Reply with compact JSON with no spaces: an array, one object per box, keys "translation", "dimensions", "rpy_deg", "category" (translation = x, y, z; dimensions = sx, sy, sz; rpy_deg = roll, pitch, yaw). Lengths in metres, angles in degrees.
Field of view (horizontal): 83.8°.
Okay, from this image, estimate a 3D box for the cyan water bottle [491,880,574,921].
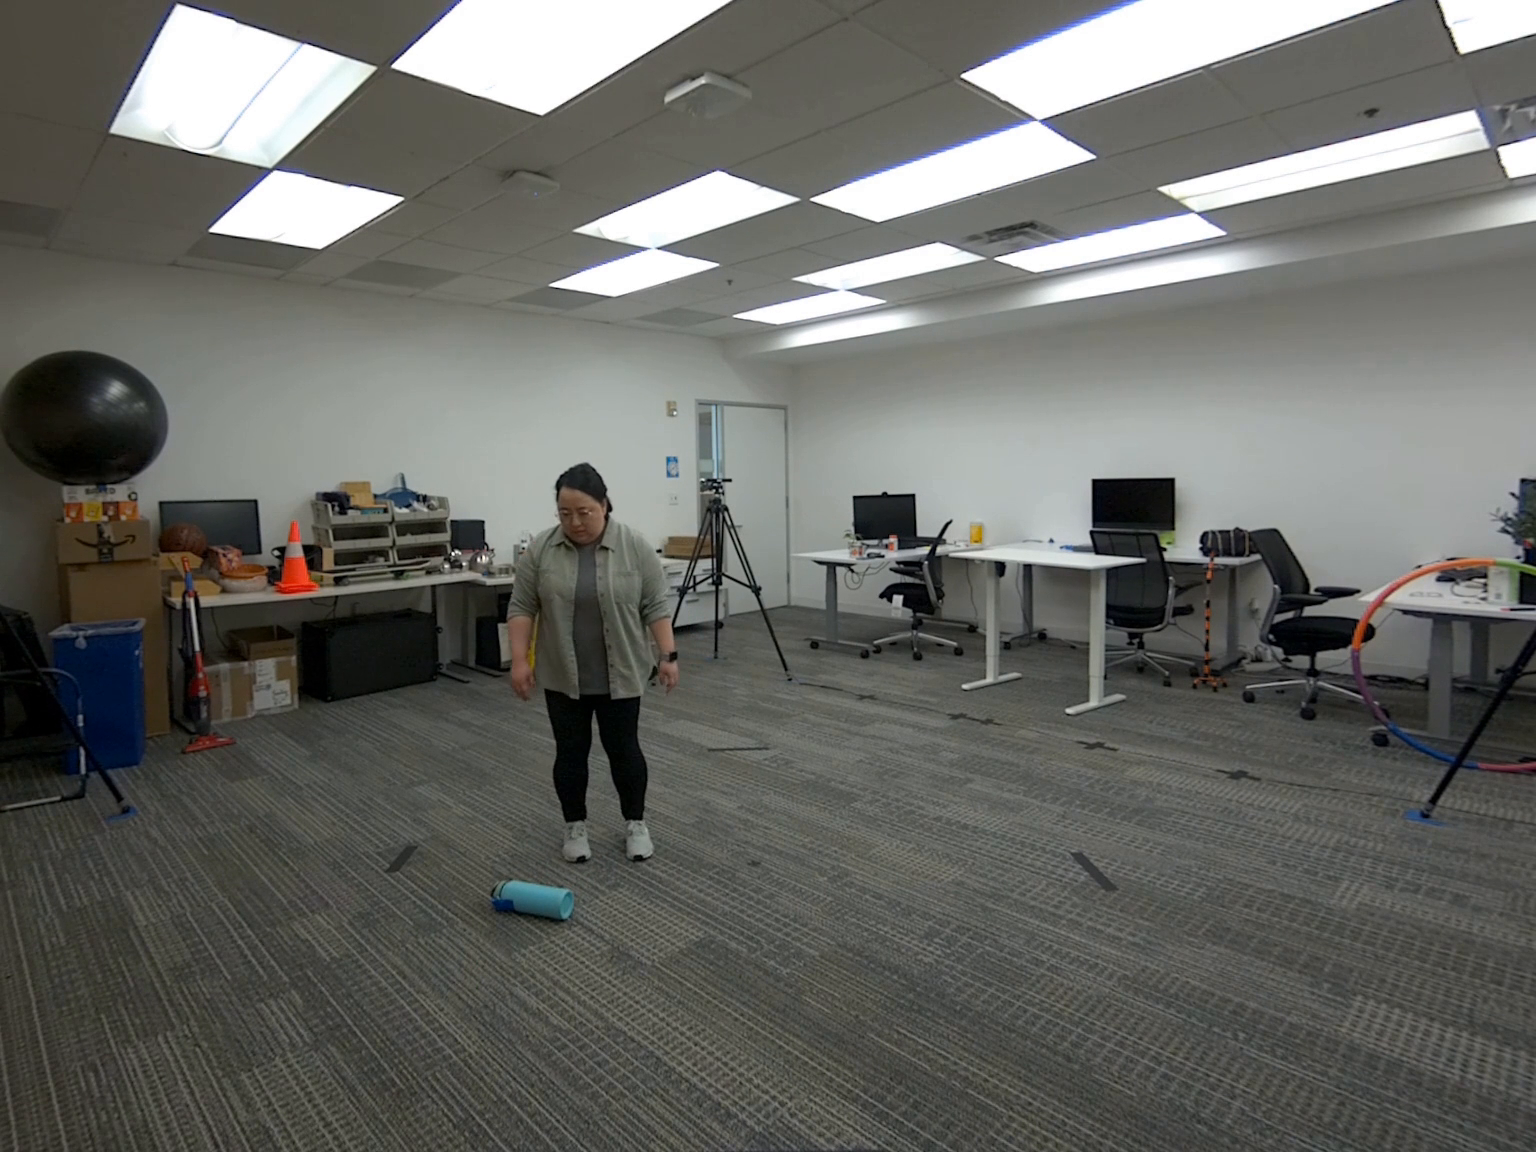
[{"translation":[-0.780,1.055,2.785],"dimensions":[0.288,0.092,0.091],"rpy_deg":[1,5,19],"category":"cyan water bottle"}]
